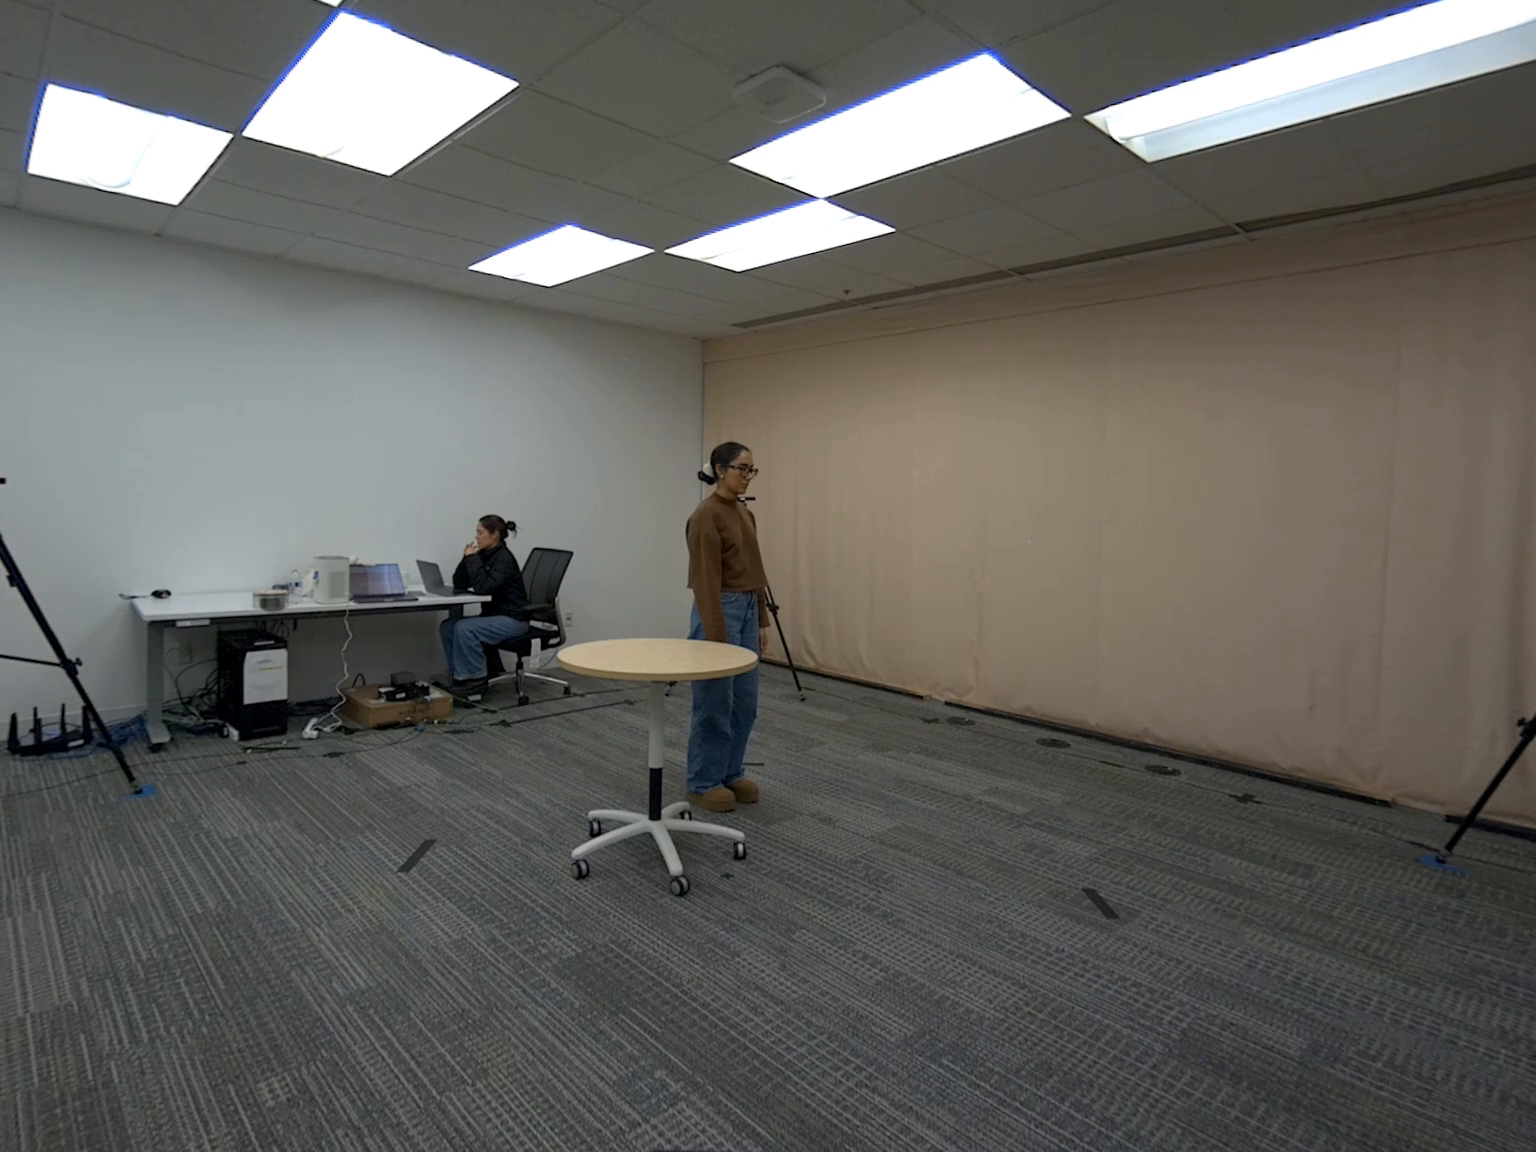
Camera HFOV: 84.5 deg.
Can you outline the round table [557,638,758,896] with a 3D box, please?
[{"bbox_3d":[-0.446,0.698,3.259,0.763,0.792,0.766,1,3,-1],"label":"round table"}]
